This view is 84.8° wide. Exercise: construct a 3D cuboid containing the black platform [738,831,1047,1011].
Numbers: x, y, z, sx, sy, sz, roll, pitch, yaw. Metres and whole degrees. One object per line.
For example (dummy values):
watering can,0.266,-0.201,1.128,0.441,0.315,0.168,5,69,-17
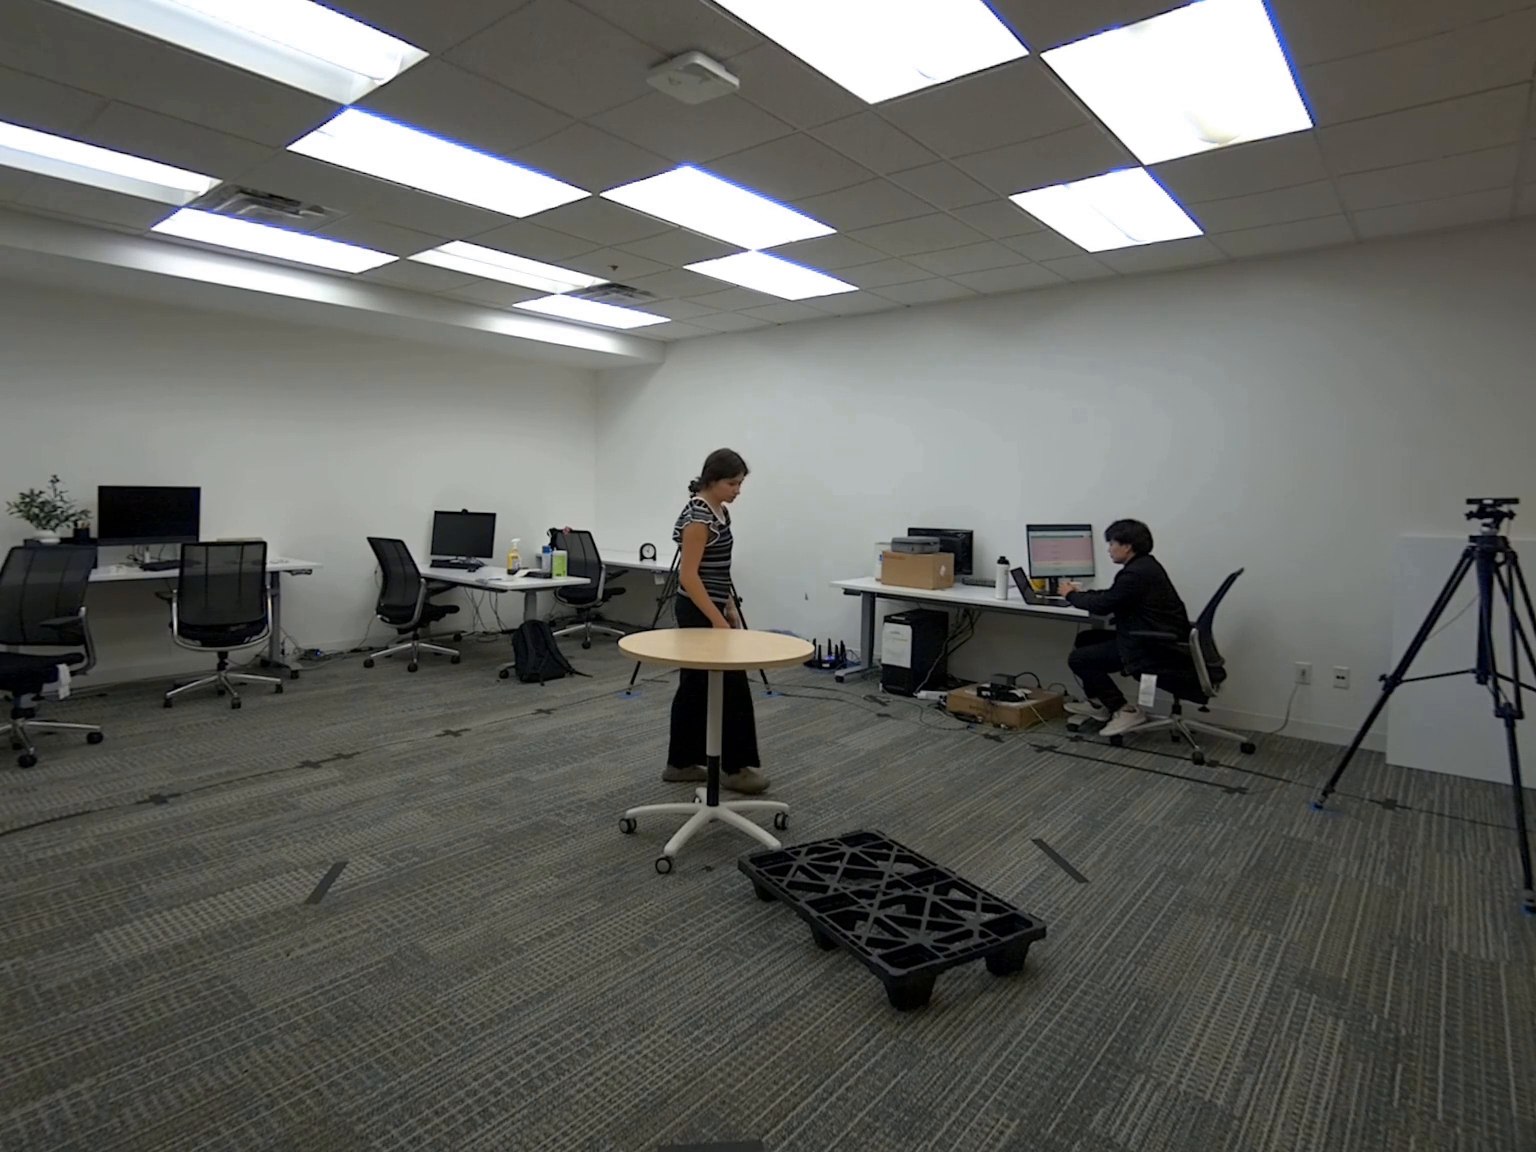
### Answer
black platform,0.351,1.053,2.699,0.589,0.143,0.831,-3,7,-32
